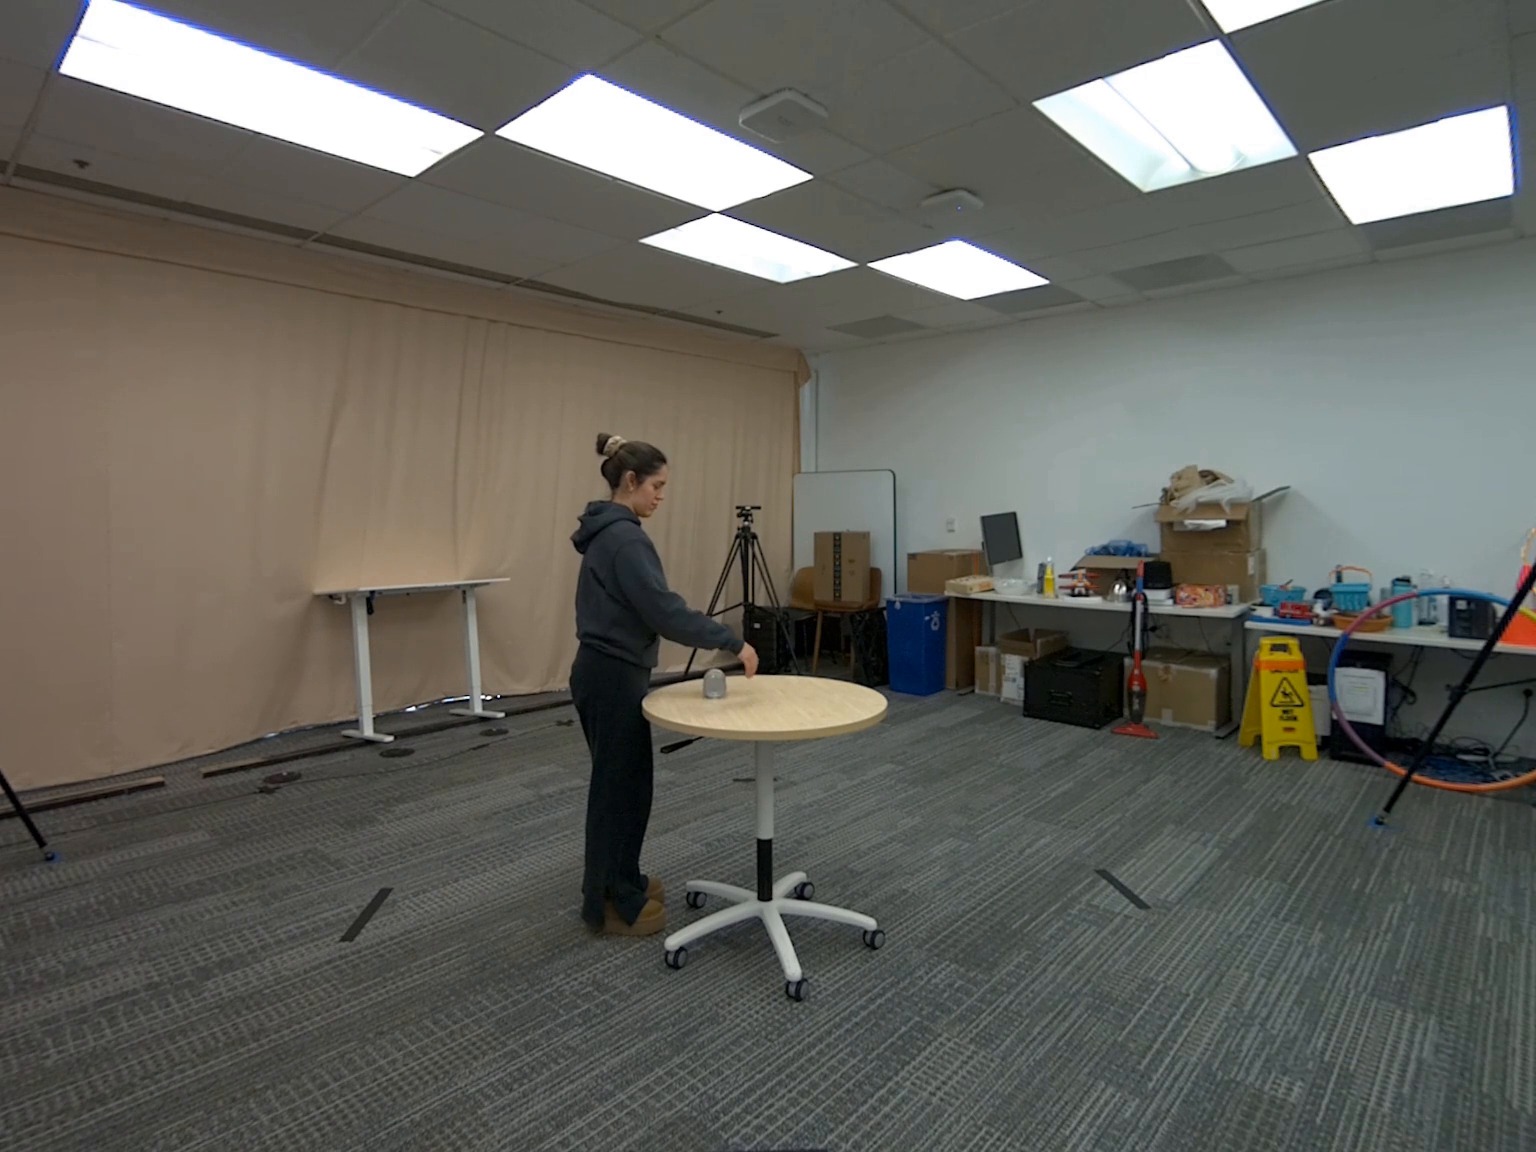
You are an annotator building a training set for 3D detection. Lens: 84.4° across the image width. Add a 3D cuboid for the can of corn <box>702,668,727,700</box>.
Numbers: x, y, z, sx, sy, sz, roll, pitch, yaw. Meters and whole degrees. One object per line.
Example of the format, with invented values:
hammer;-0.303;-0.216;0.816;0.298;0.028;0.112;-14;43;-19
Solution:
can of corn;-0.163;0.349;2.718;0.074;0.074;0.111;0;2;-1
